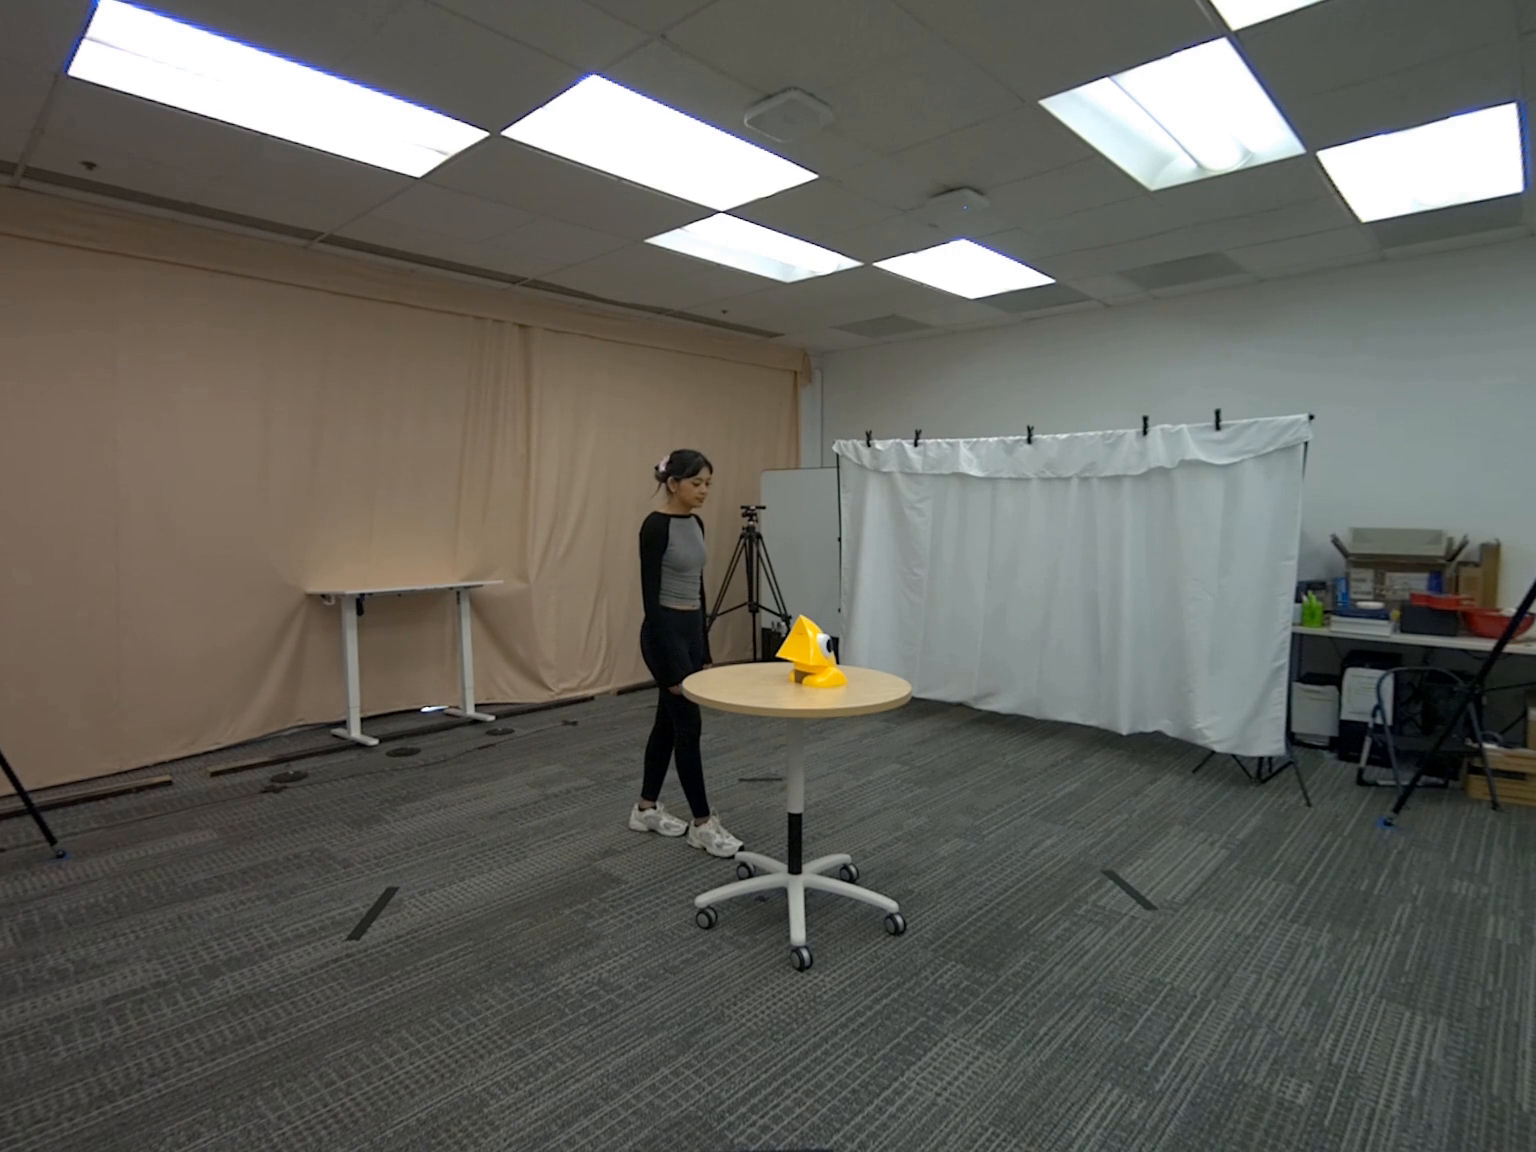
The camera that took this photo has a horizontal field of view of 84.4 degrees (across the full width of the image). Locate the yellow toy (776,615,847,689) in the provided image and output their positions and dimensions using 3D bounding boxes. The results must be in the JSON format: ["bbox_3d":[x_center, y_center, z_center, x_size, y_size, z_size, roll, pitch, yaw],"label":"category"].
[{"bbox_3d":[0.166,0.247,2.868,0.188,0.230,0.211,0,3,-32],"label":"yellow toy"}]
